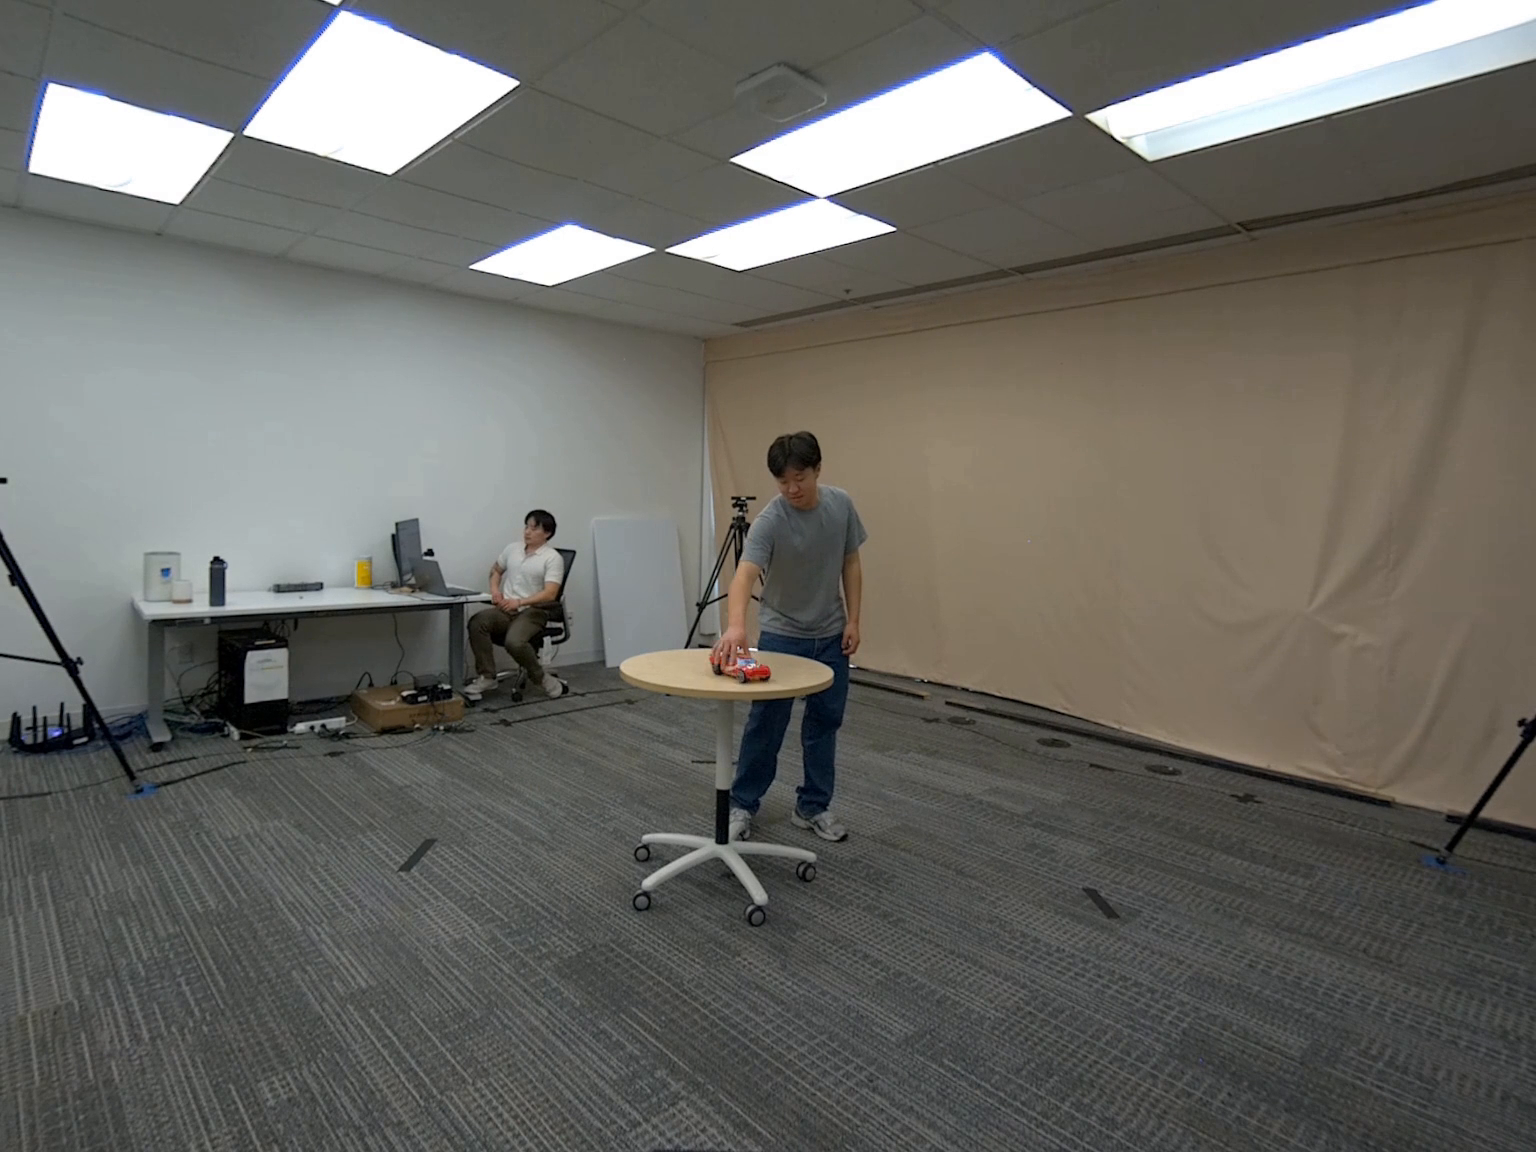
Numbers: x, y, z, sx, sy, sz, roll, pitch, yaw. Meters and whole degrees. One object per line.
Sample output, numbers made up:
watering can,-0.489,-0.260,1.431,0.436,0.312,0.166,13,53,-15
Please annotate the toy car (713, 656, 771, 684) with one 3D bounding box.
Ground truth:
toy car,-0.106,0.313,2.881,0.127,0.082,0.262,-2,17,-36
